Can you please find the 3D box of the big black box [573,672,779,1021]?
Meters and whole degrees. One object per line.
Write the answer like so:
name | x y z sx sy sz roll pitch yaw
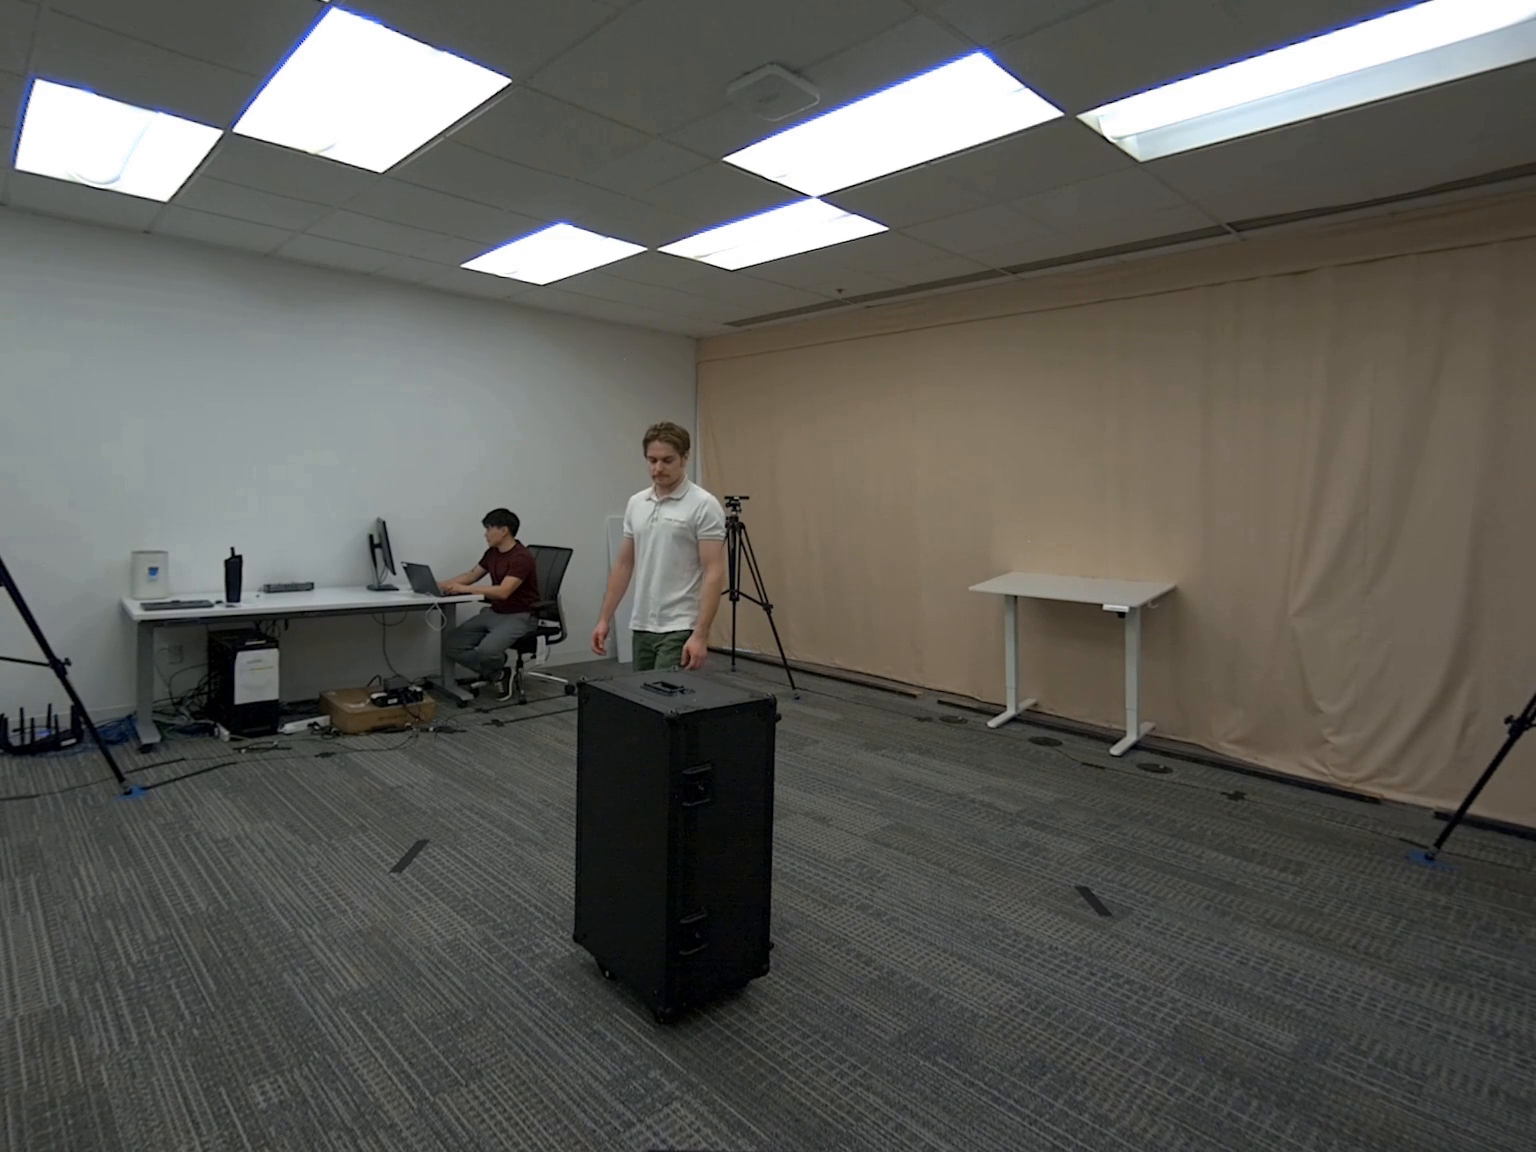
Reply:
big black box | -0.282 0.749 2.401 0.376 0.866 0.537 -1 4 -41
